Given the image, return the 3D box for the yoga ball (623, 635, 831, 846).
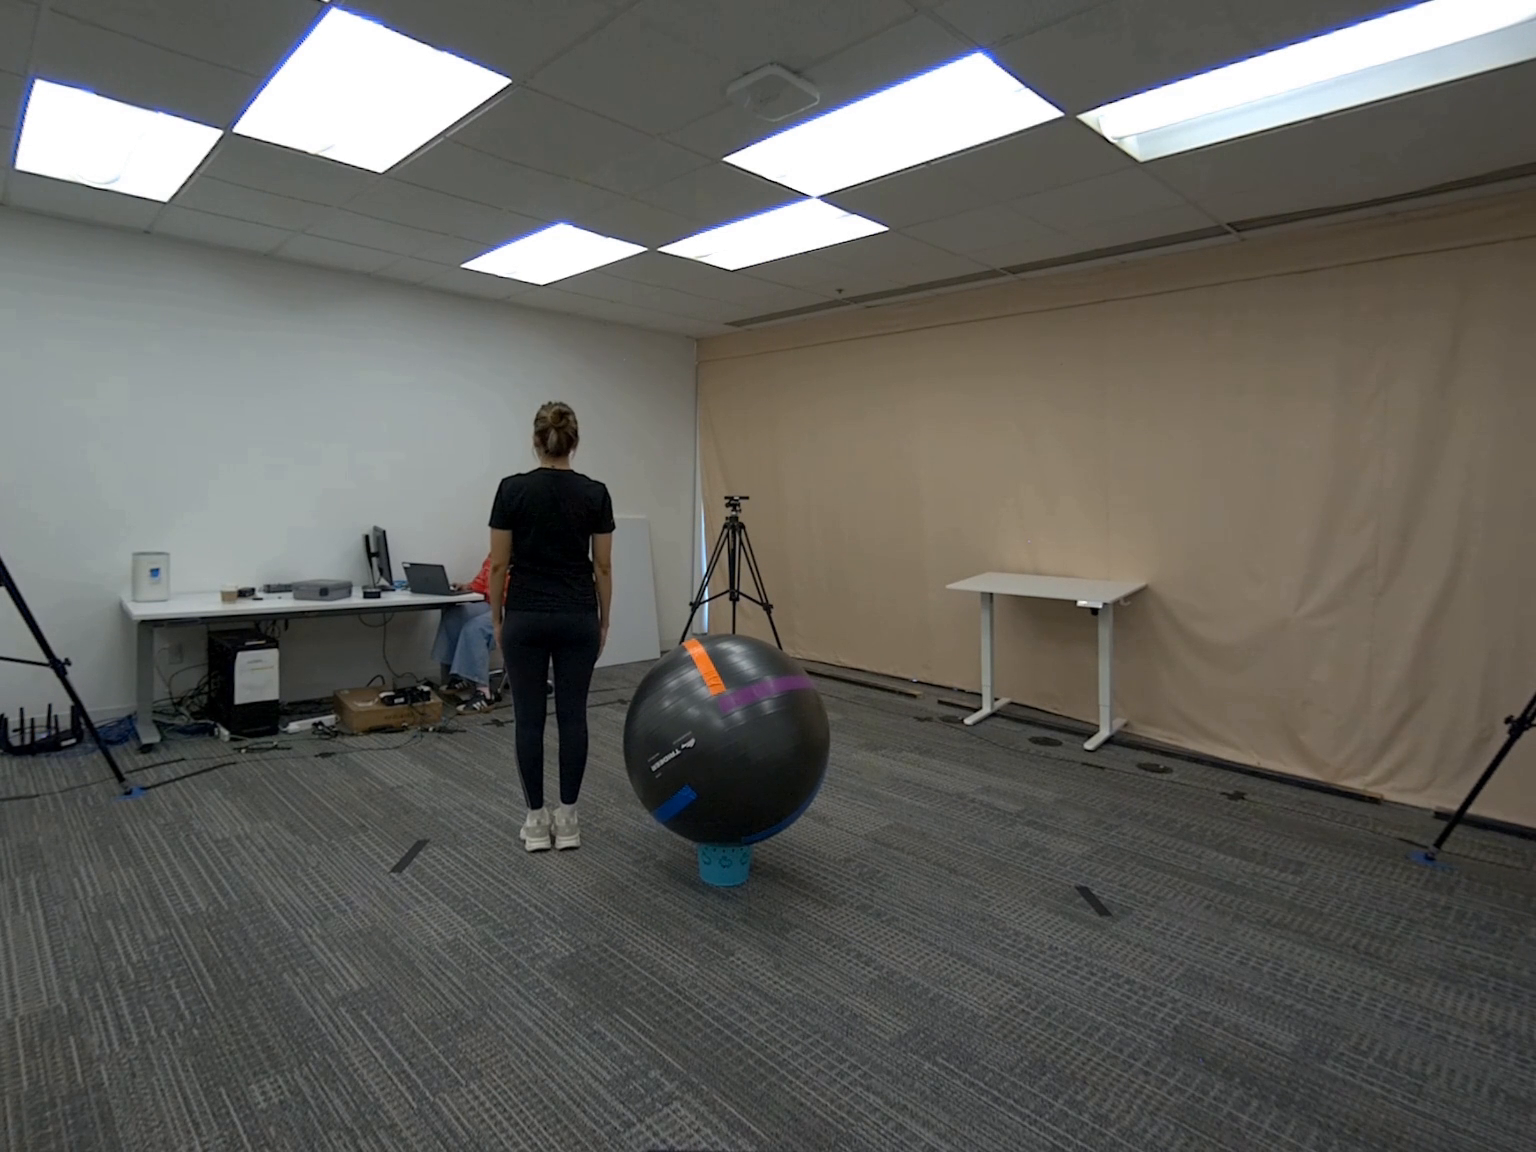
[{"bbox_3d":[-0.158,0.593,3.083,0.757,0.756,0.761,1,4,-1],"label":"yoga ball"}]
